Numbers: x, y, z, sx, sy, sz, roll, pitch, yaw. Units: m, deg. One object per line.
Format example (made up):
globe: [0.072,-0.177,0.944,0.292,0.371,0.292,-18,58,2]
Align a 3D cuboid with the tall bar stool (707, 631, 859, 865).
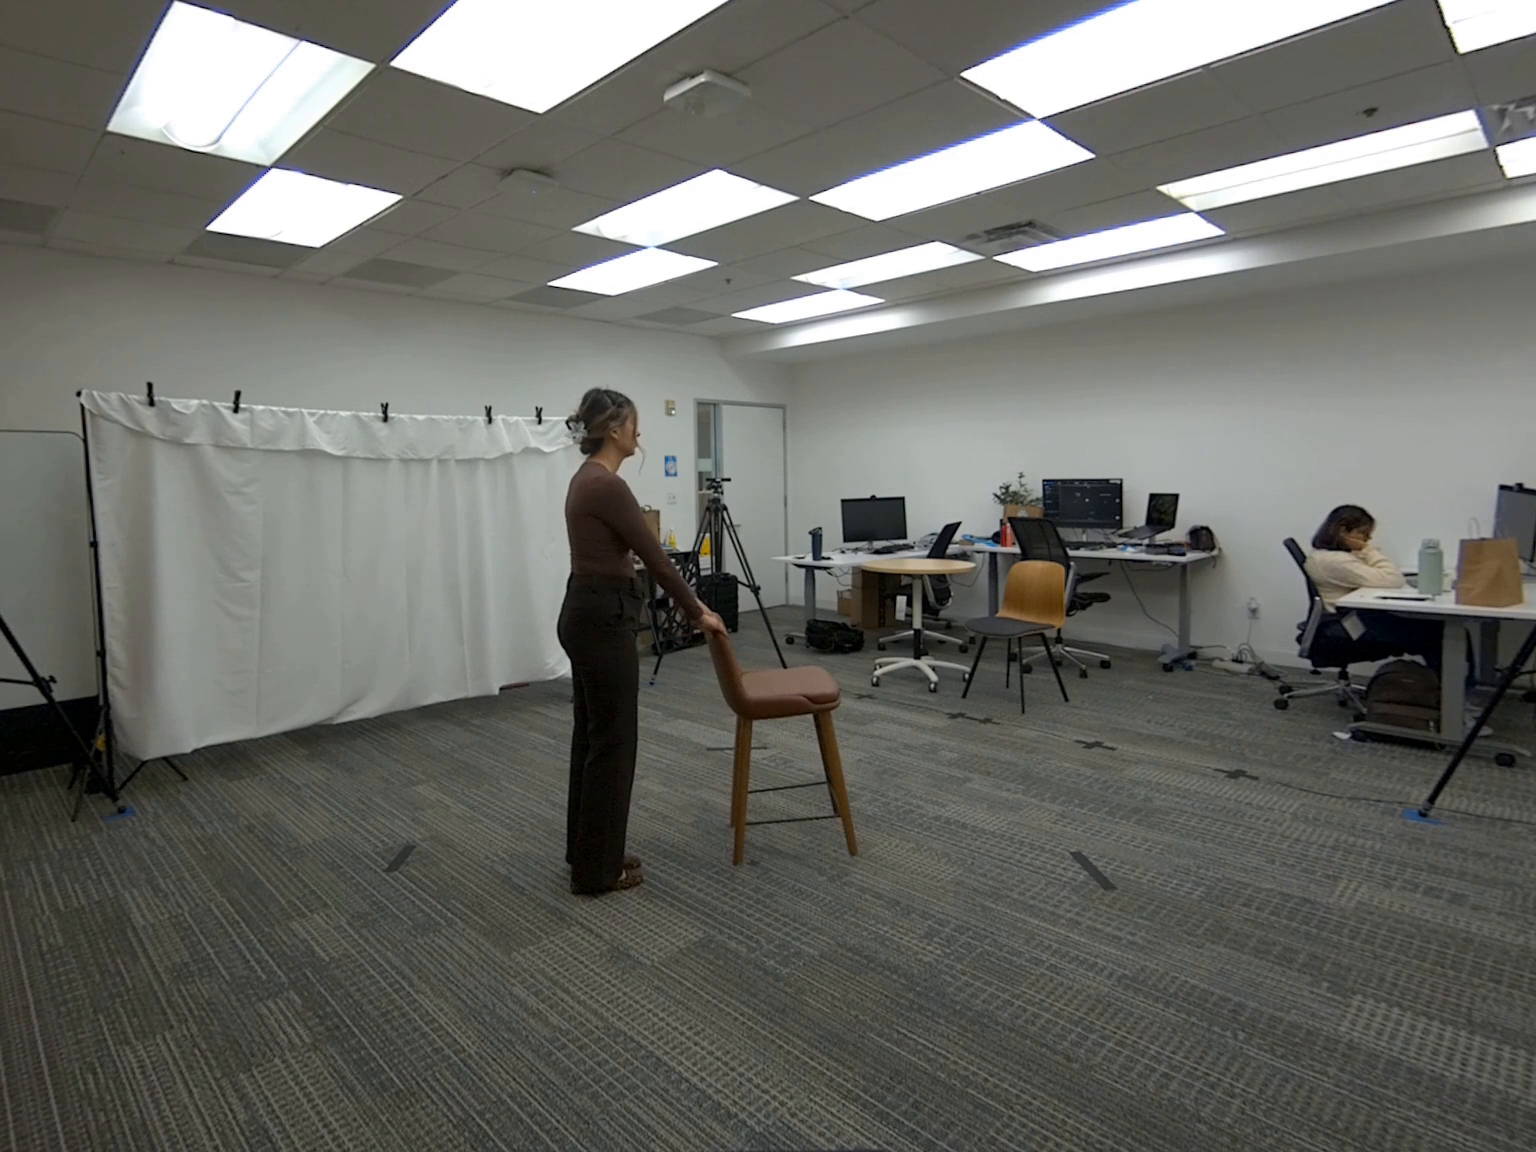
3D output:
tall bar stool: [0.042,0.578,3.246,0.467,0.886,0.459,-7,4,-2]
